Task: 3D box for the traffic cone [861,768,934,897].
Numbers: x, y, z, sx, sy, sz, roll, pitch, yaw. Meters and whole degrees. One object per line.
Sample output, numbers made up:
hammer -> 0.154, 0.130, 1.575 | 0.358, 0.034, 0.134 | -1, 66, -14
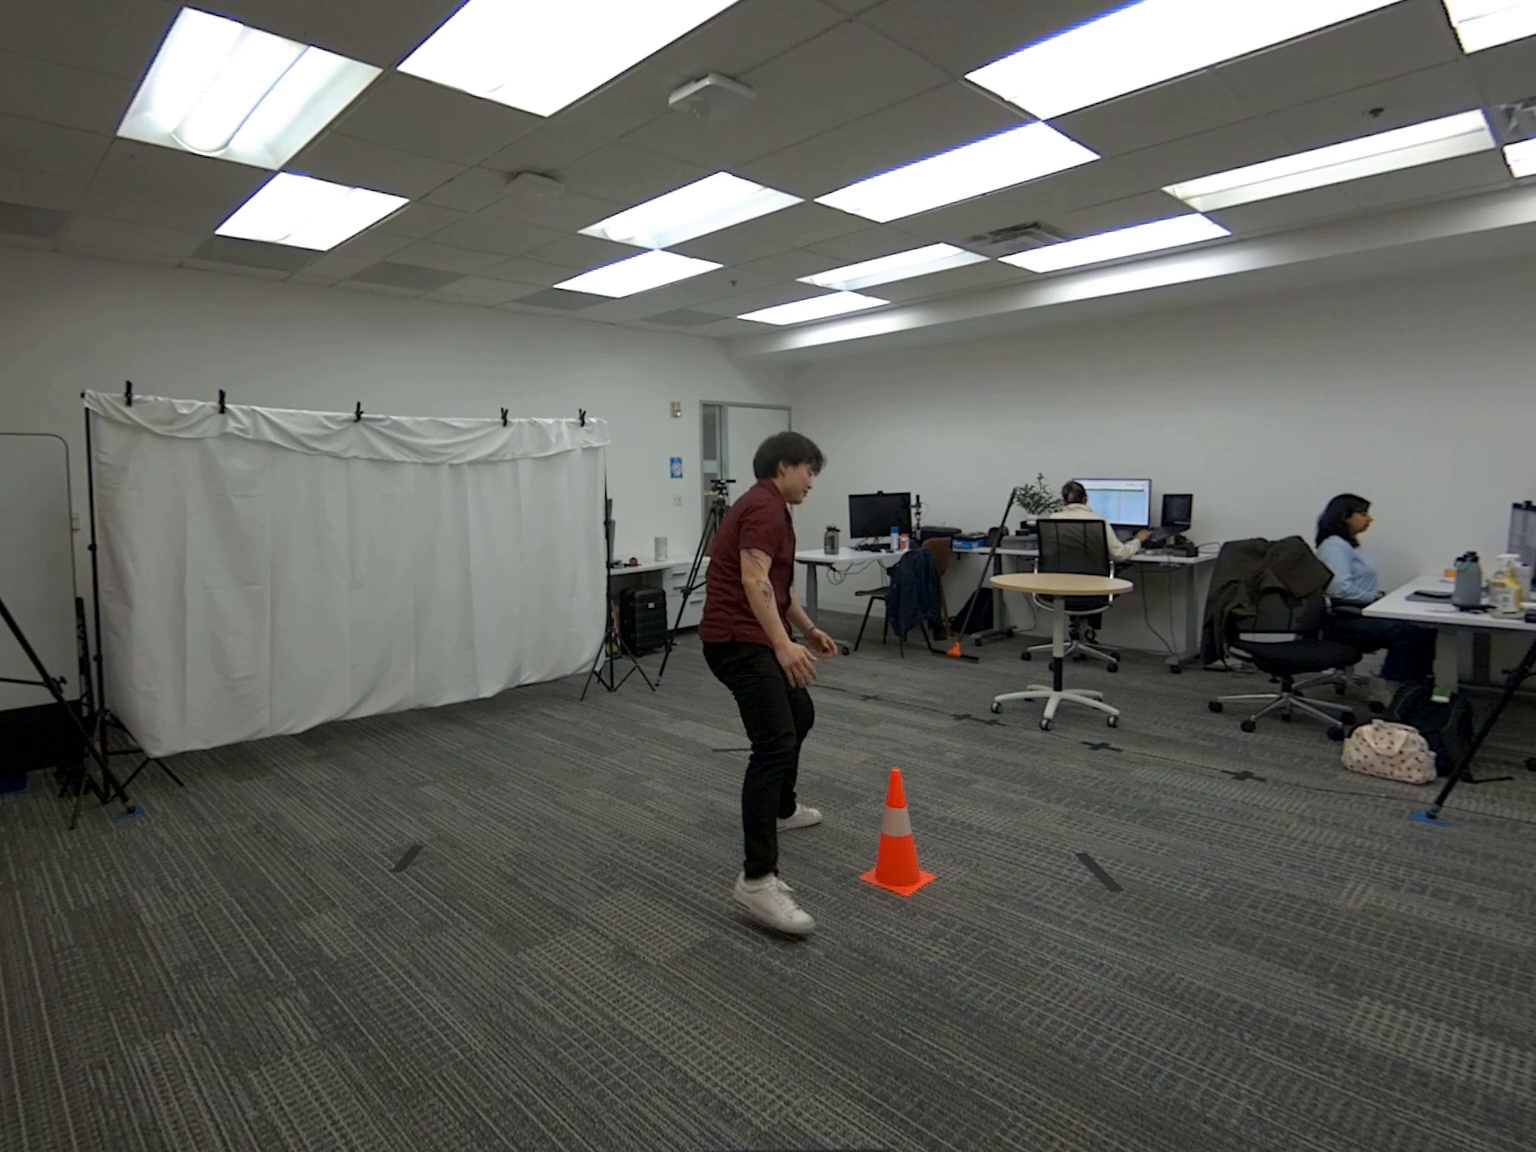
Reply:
traffic cone -> 0.456, 0.870, 2.967 | 0.200, 0.382, 0.209 | -3, 5, -33
